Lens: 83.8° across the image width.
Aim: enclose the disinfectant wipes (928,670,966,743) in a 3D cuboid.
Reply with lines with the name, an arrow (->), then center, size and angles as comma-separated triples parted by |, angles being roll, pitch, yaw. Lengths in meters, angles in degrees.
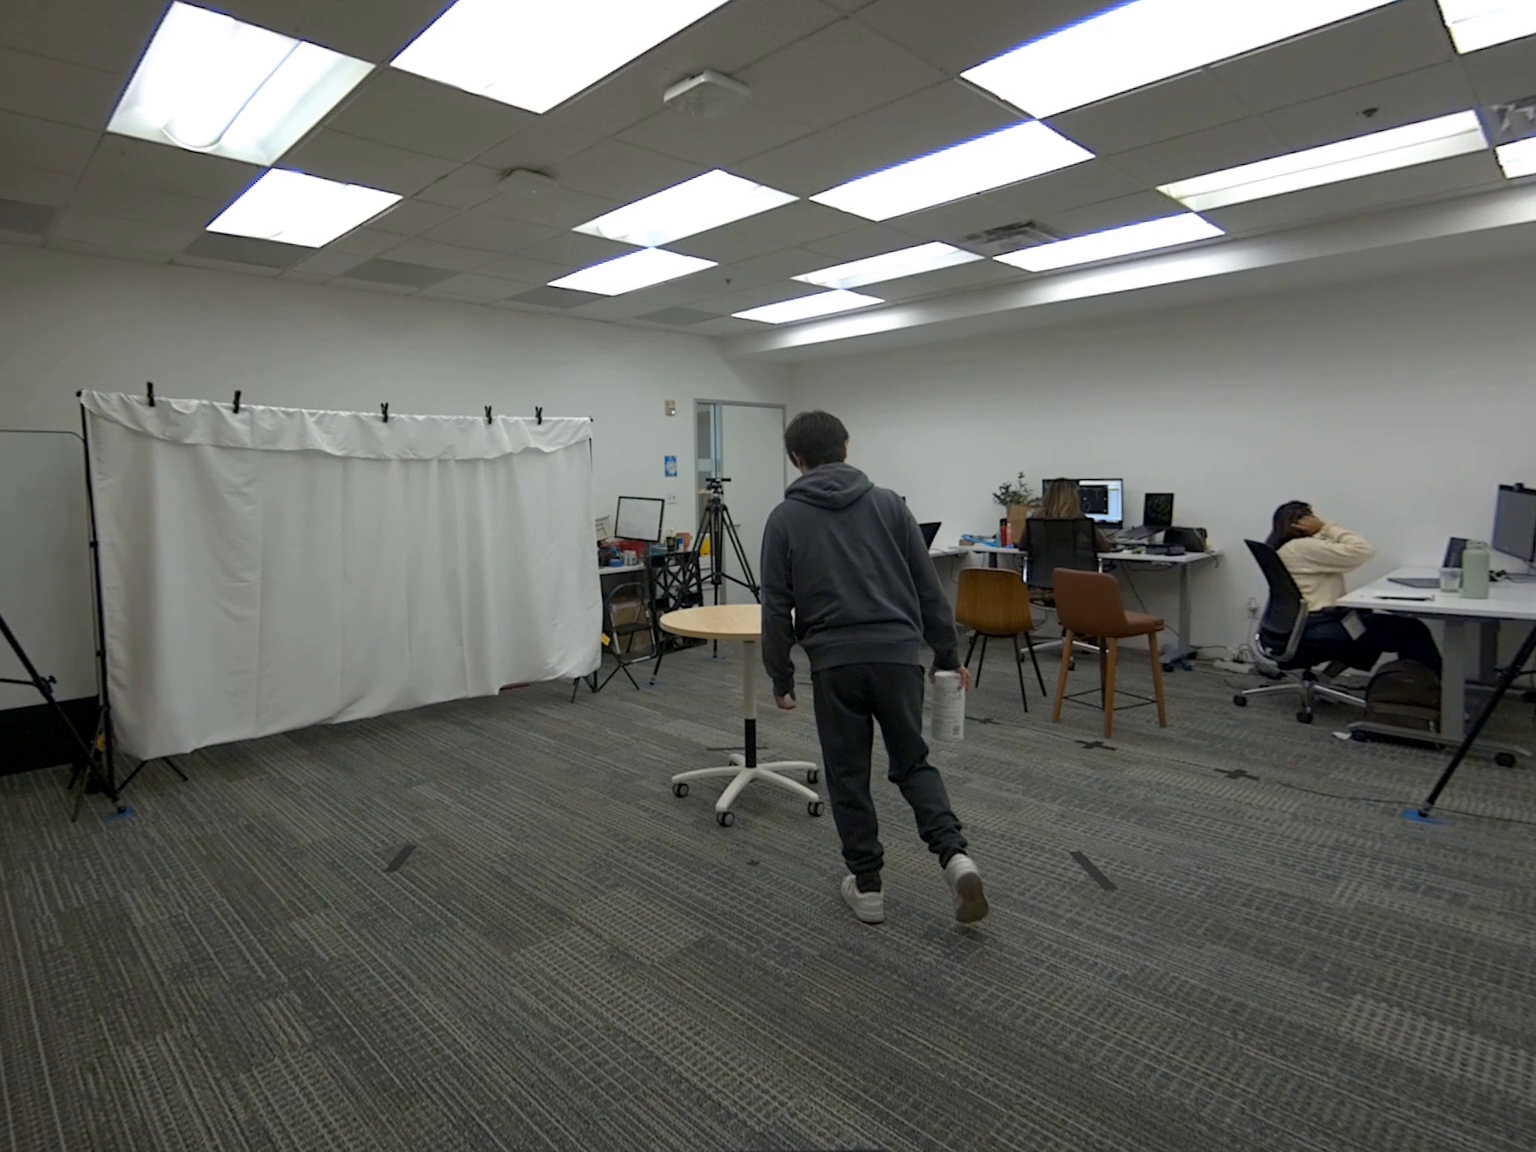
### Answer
disinfectant wipes -> 0.606, 0.440, 2.862 | 0.118, 0.217, 0.118 | 2, 3, -2
